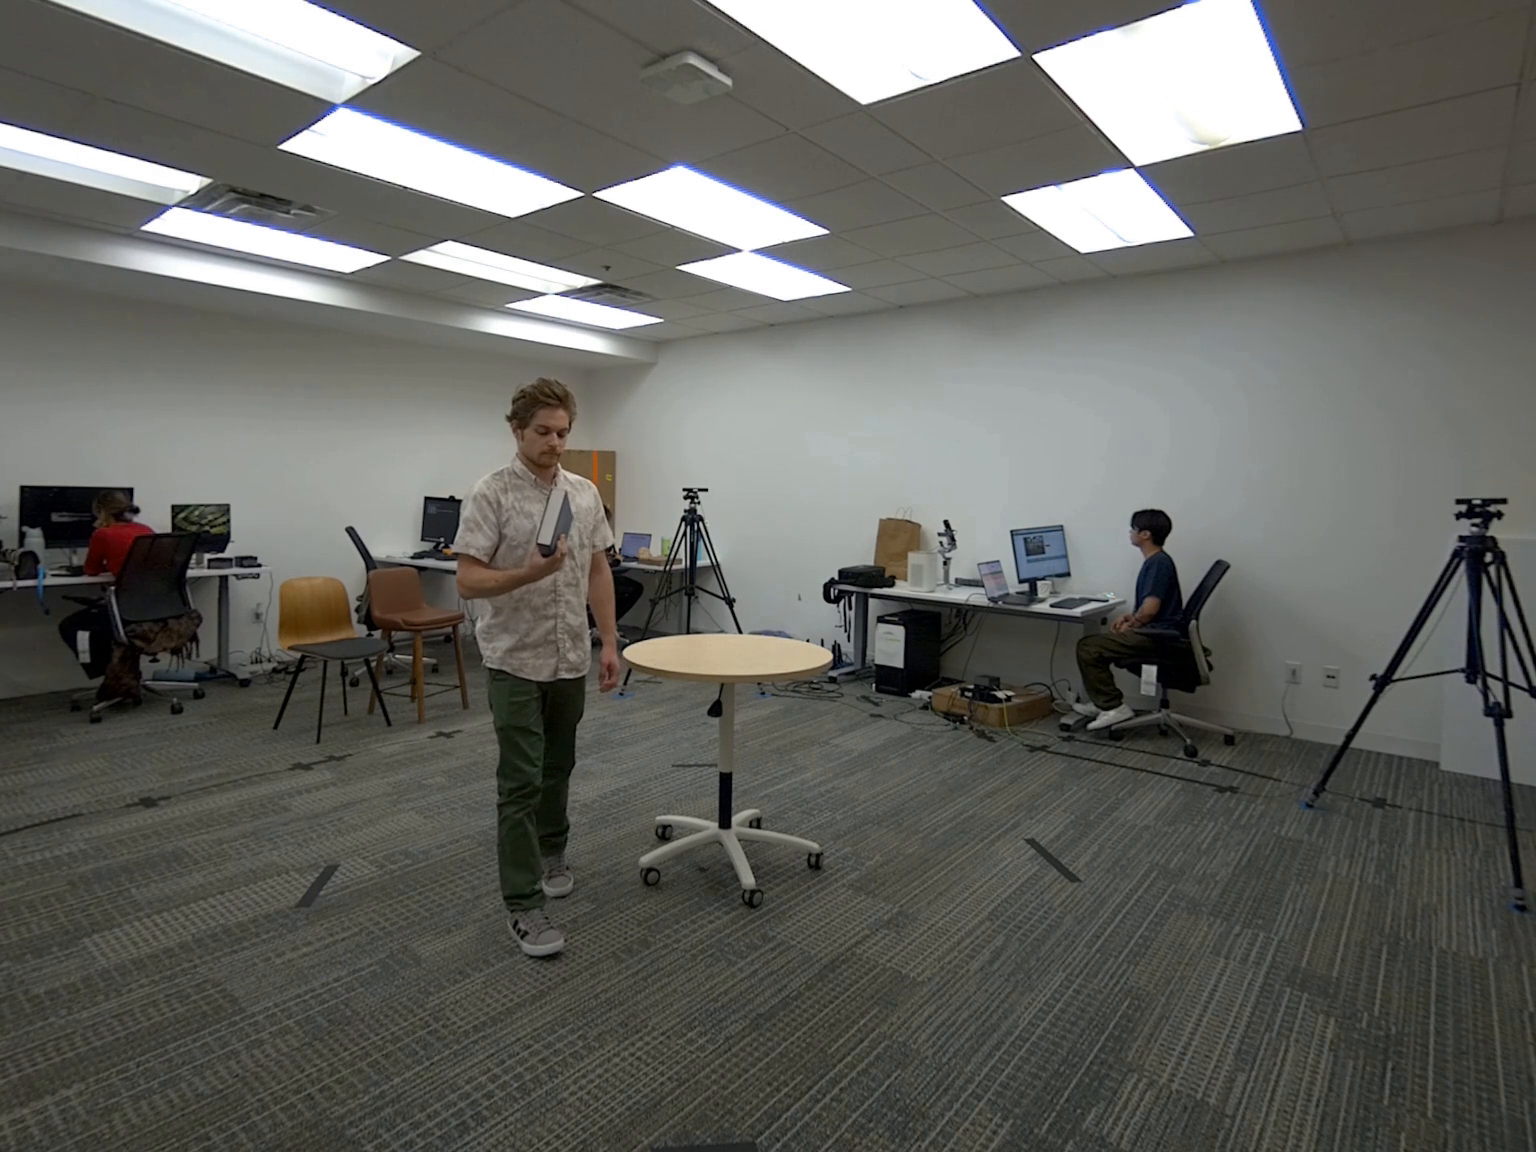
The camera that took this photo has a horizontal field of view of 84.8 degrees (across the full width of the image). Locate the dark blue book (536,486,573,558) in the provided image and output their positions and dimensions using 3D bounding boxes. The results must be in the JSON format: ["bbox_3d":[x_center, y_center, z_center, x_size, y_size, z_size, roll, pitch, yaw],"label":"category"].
[{"bbox_3d":[-0.620,-0.139,2.403,0.044,0.165,0.245,14,-16,-11],"label":"dark blue book"}]
